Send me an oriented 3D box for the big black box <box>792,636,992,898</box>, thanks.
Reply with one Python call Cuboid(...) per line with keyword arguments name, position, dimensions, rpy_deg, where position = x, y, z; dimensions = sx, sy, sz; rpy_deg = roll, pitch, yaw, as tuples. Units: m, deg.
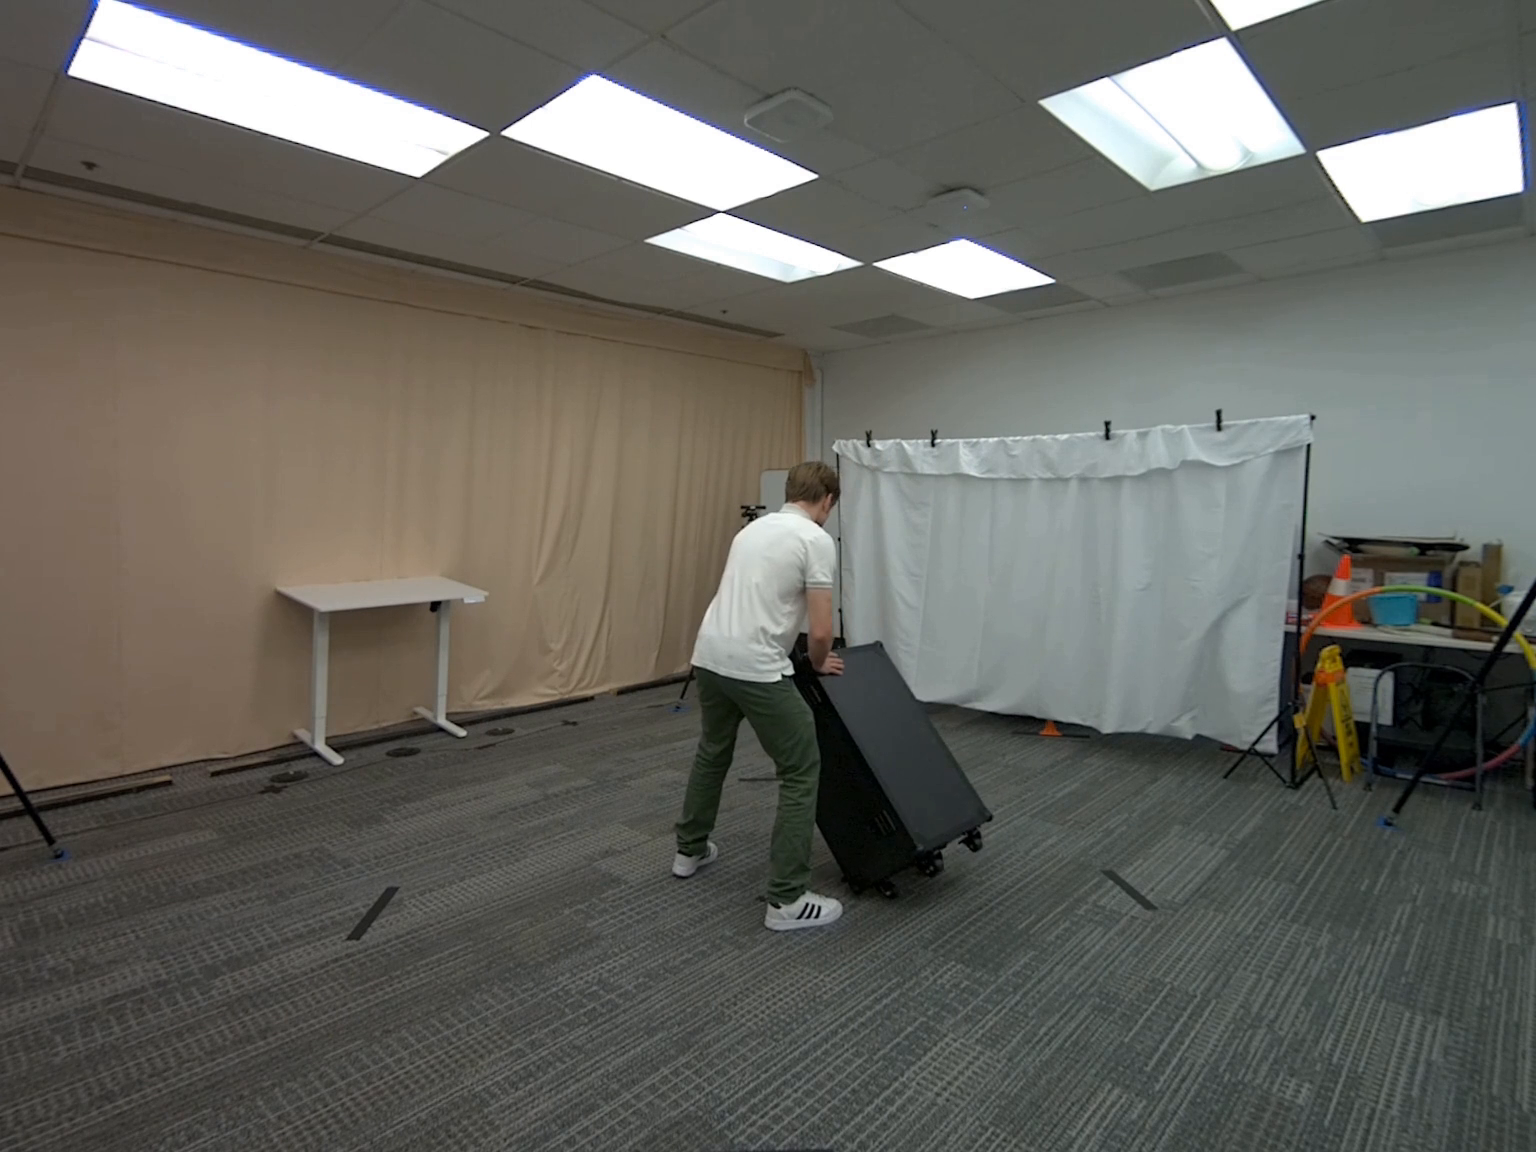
Cuboid(name="big black box", position=(0.394, 0.726, 3.194), dimensions=(0.505, 0.883, 0.398), rpy_deg=(-3, -37, -46))
